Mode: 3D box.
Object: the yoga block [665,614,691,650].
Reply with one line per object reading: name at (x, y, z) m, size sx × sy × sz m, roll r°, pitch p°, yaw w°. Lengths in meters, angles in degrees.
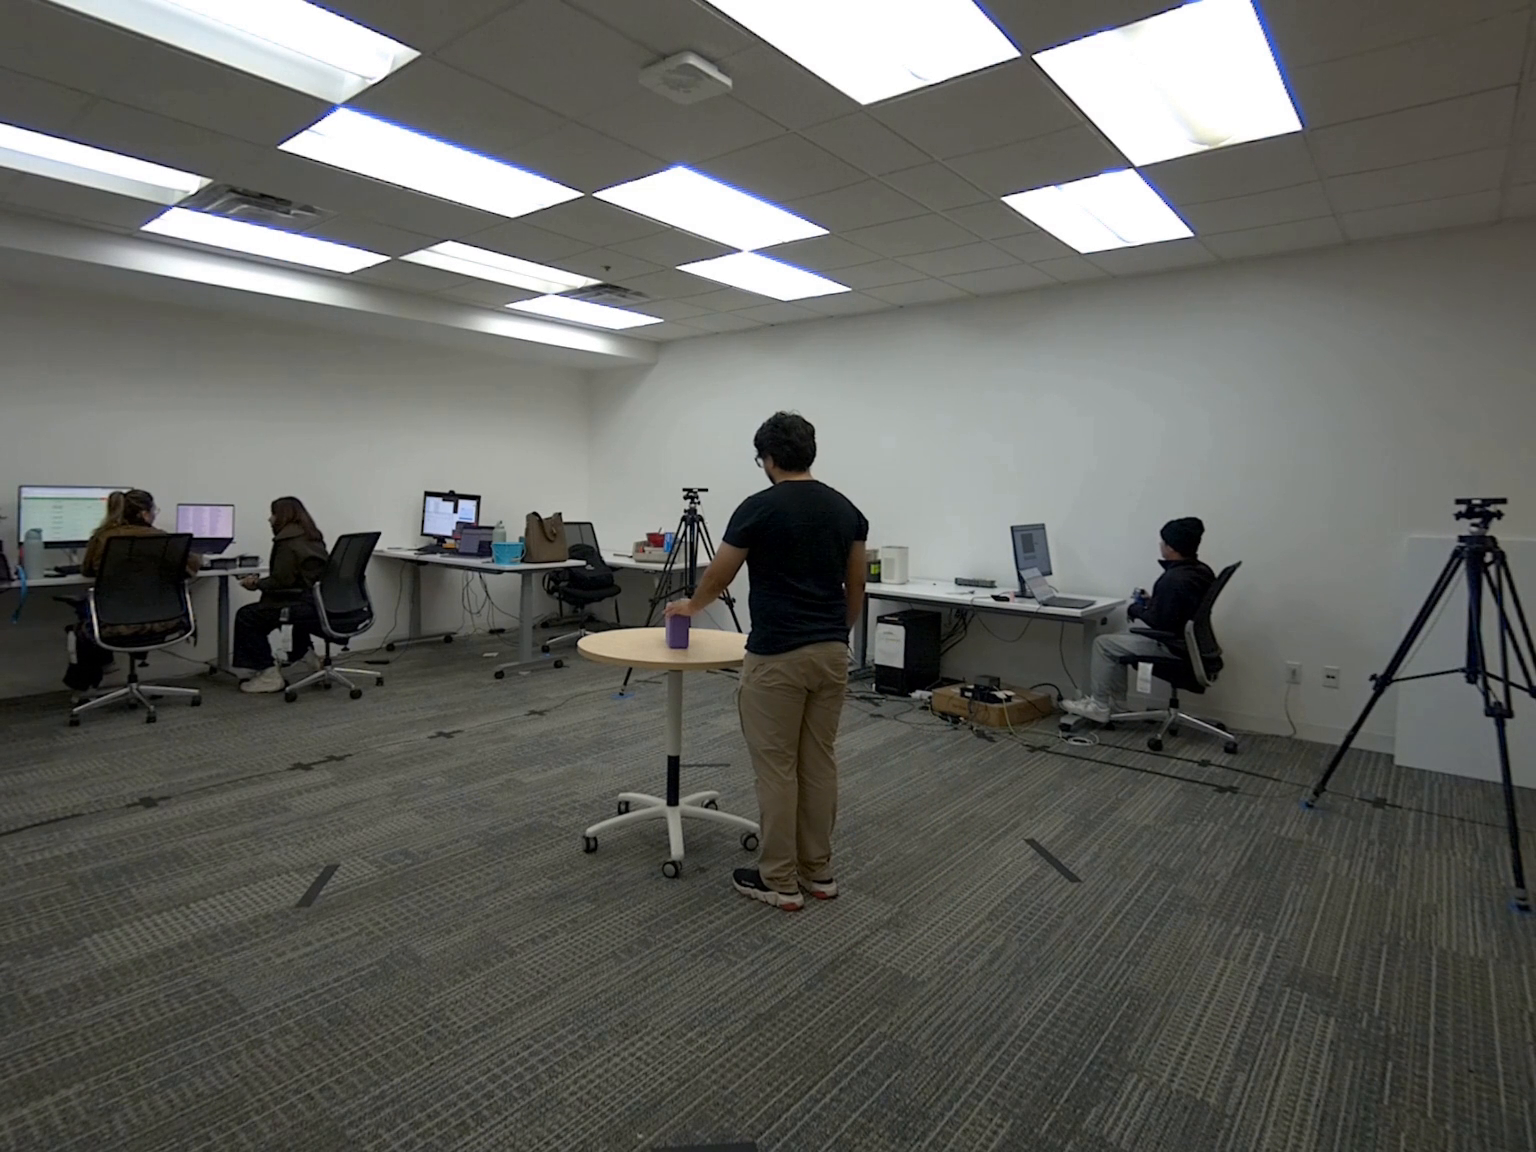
yoga block at (-0.363, 0.185, 3.330) m, size 0.076 × 0.148 × 0.231 m, roll 0°, pitch 5°, yaw -7°
